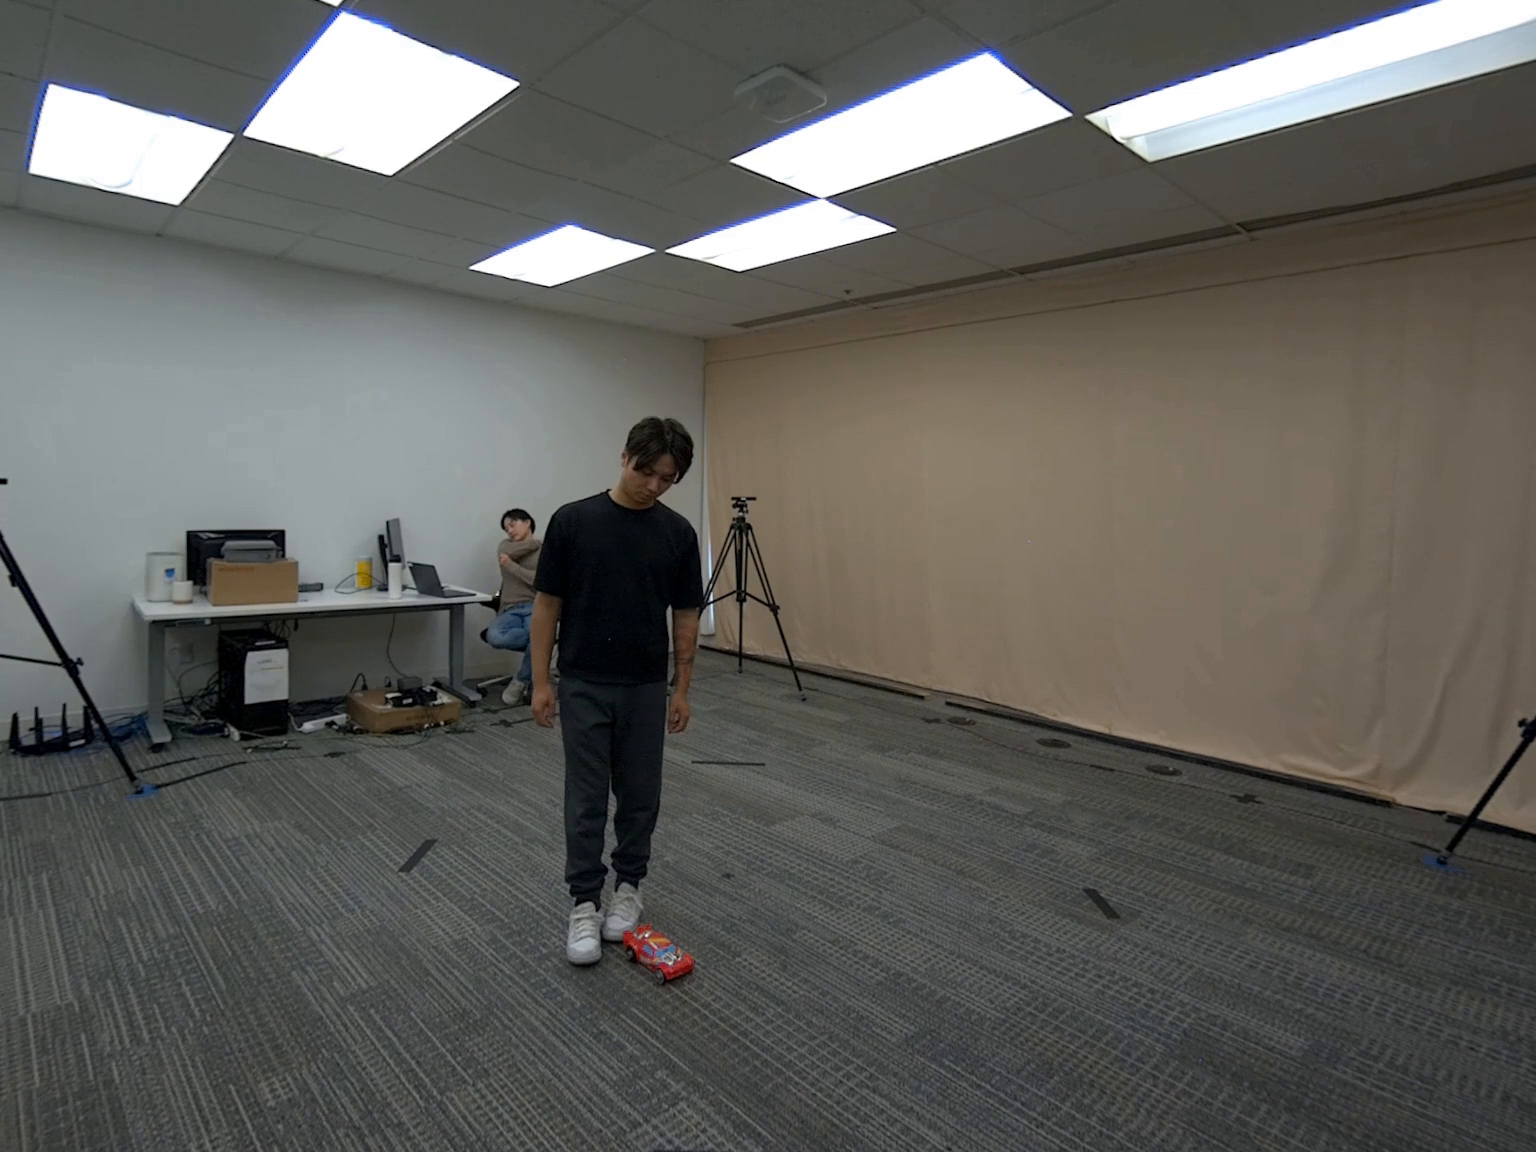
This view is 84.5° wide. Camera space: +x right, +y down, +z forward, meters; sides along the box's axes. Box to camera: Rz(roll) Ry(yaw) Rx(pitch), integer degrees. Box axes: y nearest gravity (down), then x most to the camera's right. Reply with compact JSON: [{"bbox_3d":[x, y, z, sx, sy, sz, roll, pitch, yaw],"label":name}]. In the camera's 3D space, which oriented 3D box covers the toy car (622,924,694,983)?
[{"bbox_3d":[-0.346,1.122,2.507,0.127,0.082,0.262,-3,18,-41],"label":"toy car"}]
